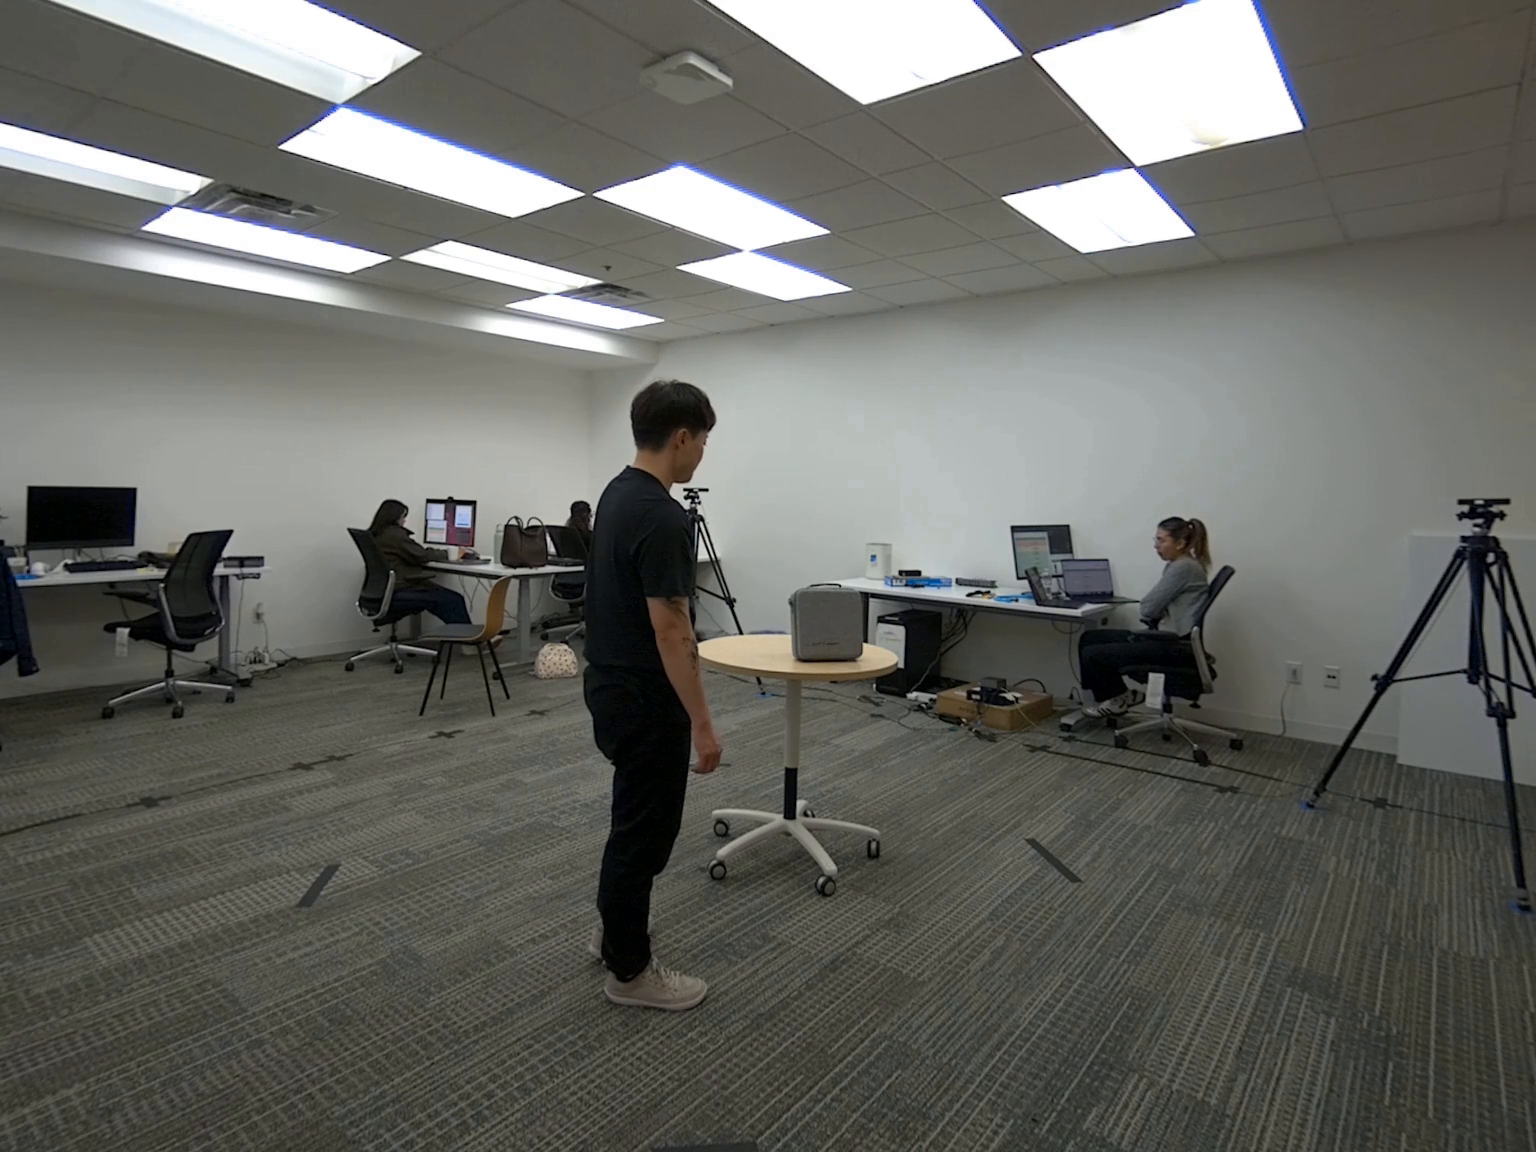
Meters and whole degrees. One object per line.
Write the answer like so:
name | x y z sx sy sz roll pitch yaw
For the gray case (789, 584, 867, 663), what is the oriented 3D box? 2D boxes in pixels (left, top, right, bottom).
gray case | 0.205 0.169 3.088 0.253 0.262 0.105 1 -6 -13
